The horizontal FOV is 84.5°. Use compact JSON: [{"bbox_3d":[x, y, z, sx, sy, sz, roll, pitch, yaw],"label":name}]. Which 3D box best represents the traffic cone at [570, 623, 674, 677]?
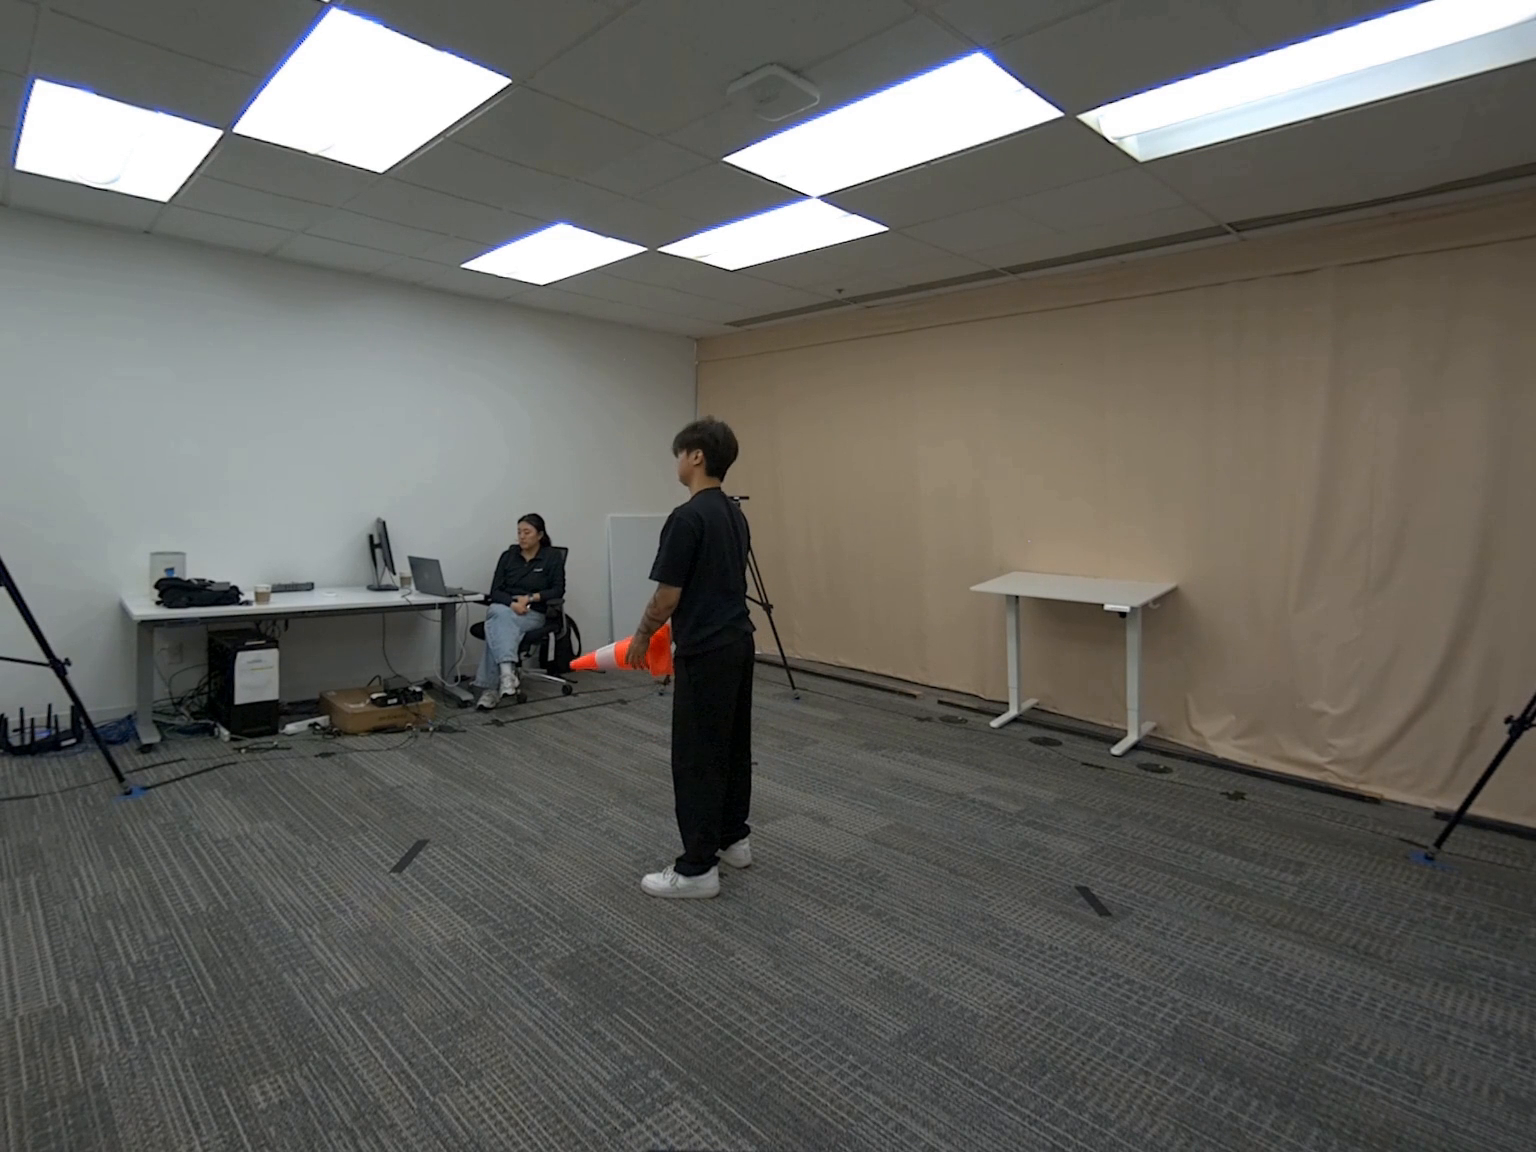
[{"bbox_3d":[-0.584,0.312,3.204,0.388,0.207,0.199,-13,-14,18],"label":"traffic cone"}]
